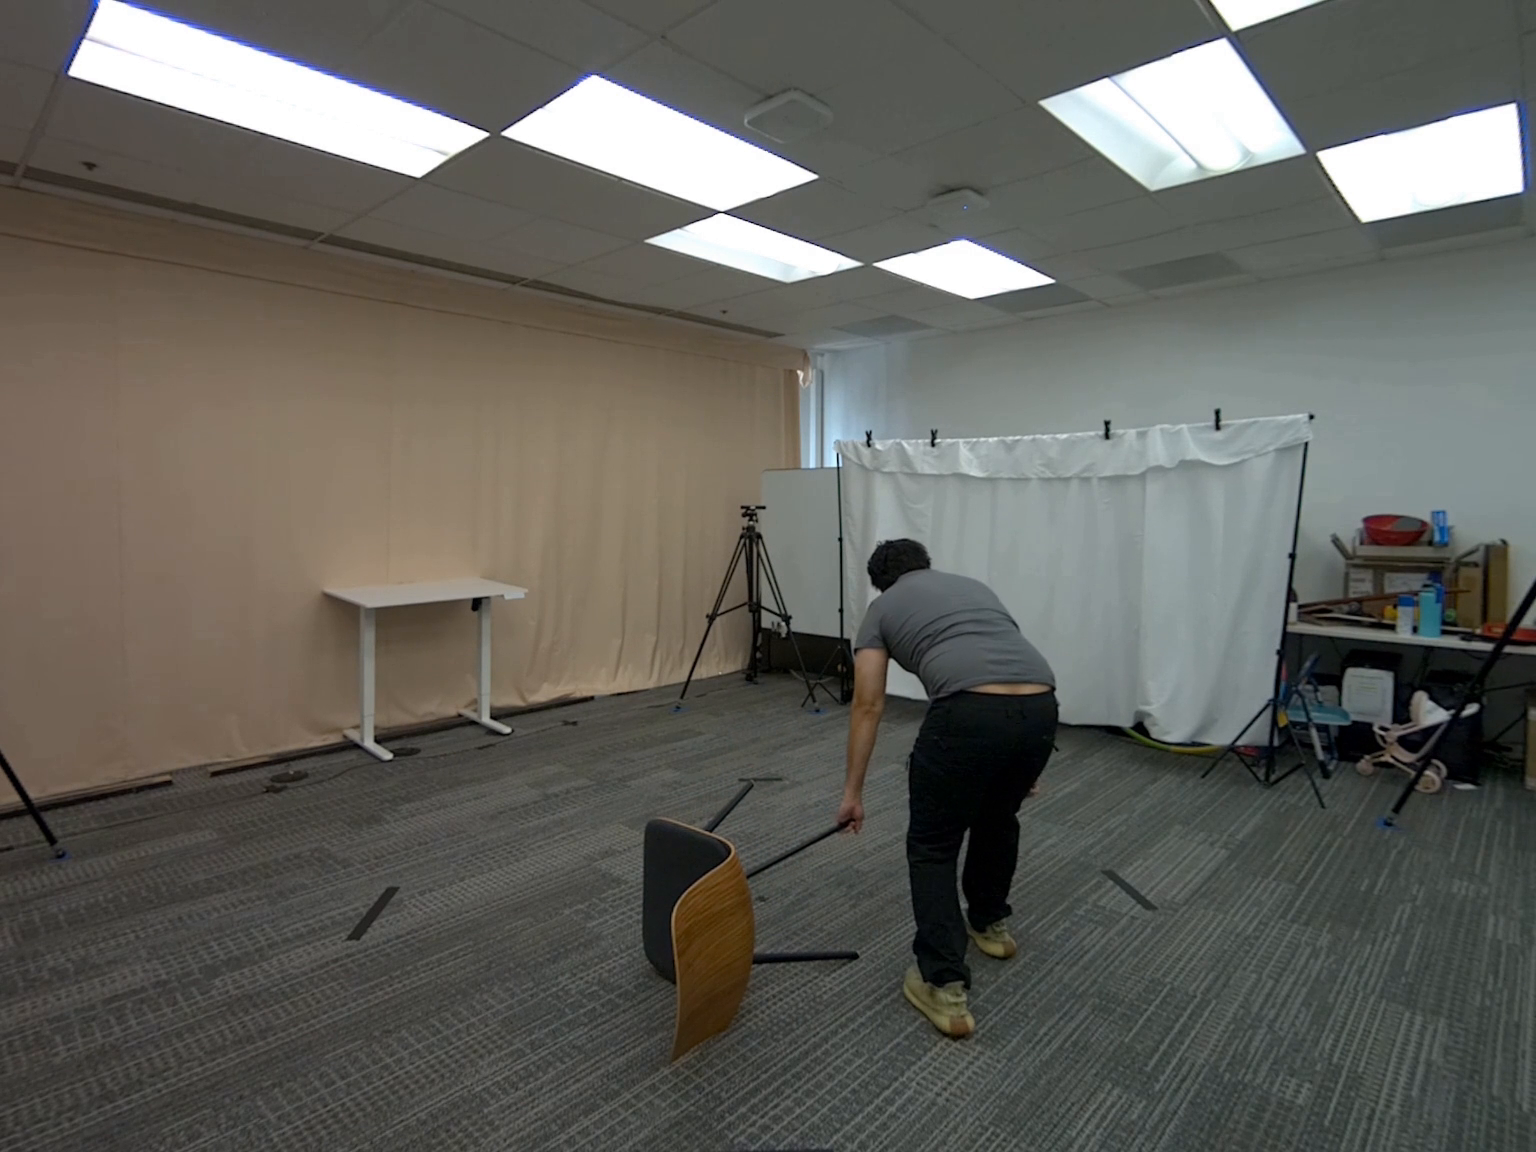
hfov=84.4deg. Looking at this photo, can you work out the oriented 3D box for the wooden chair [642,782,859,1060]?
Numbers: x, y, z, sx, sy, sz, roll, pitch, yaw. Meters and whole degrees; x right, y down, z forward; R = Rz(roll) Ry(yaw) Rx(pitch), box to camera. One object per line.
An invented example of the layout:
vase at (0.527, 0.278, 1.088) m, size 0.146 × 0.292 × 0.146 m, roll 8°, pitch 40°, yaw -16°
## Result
wooden chair at (-0.163, 0.965, 2.427) m, size 0.540 × 0.477 × 0.851 m, roll 4°, pitch 5°, yaw 36°
